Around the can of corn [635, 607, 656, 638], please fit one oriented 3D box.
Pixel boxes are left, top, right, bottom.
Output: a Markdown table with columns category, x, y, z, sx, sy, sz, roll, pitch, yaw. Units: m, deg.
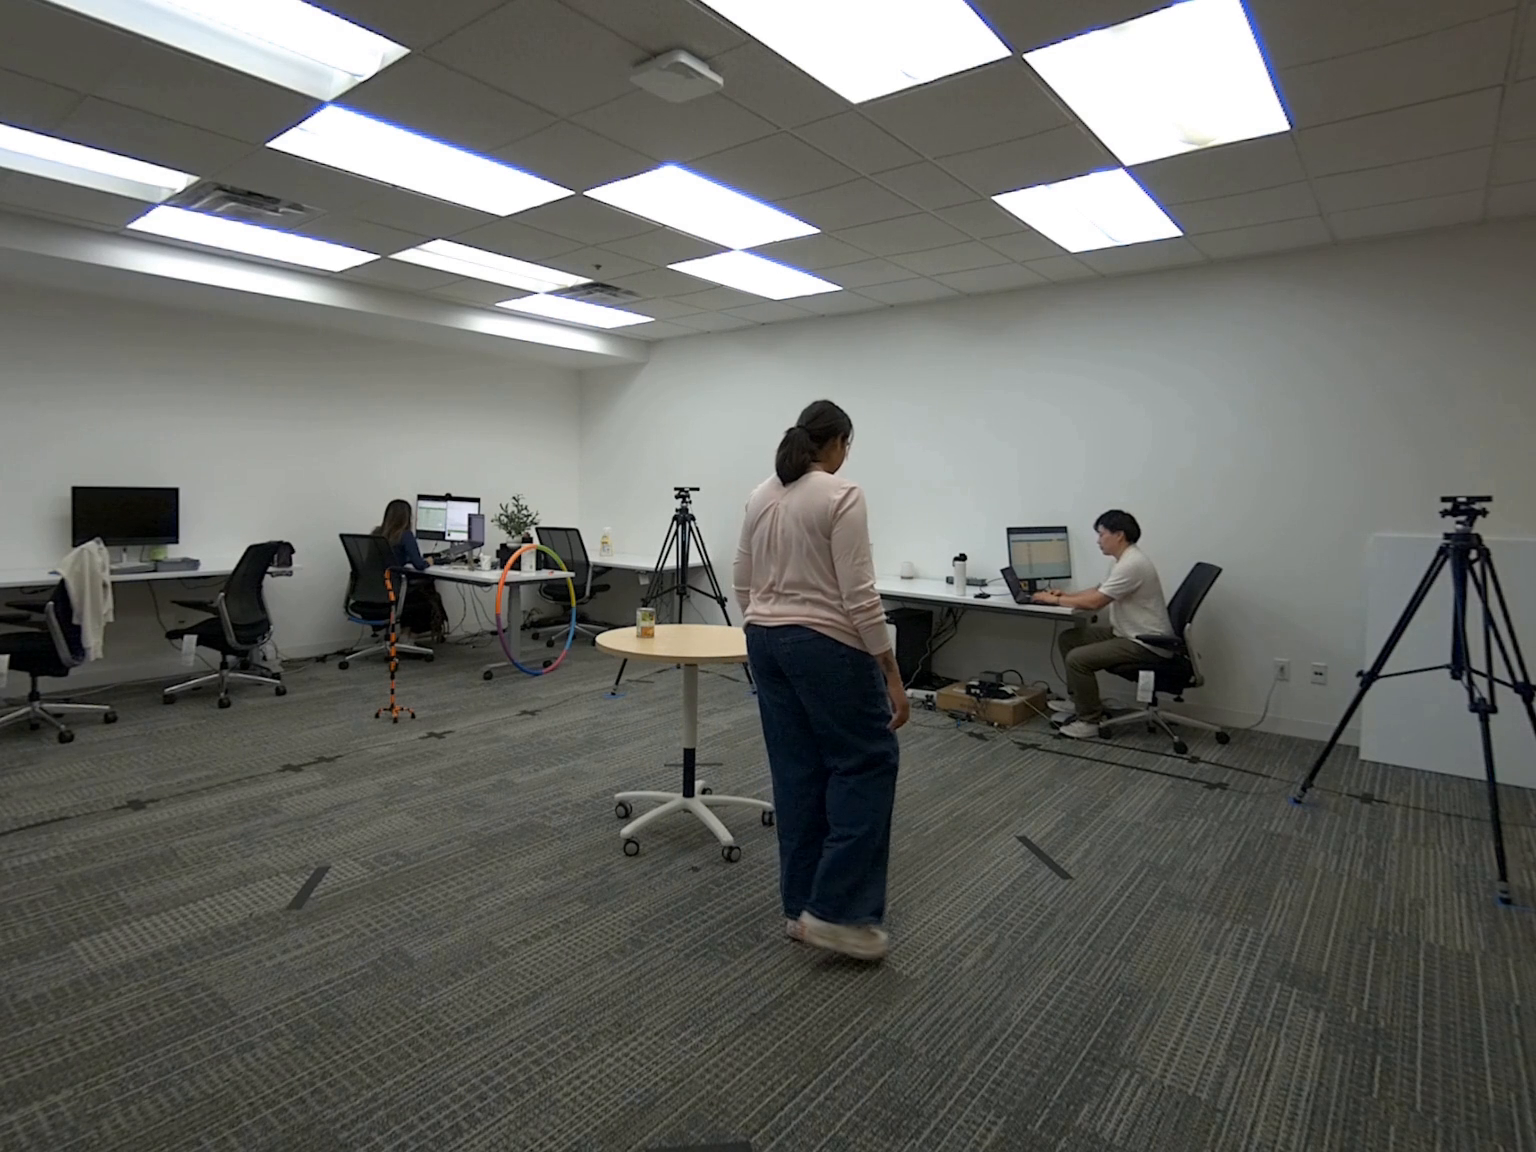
| category | x | y | z | sx | sy | sz | roll | pitch | yaw |
| --- | --- | --- | --- | --- | --- | --- | --- | --- | --- |
| can of corn | -0.513 | 0.188 | 3.453 | 0.074 | 0.111 | 0.074 | 2 | 1 | -2 |
